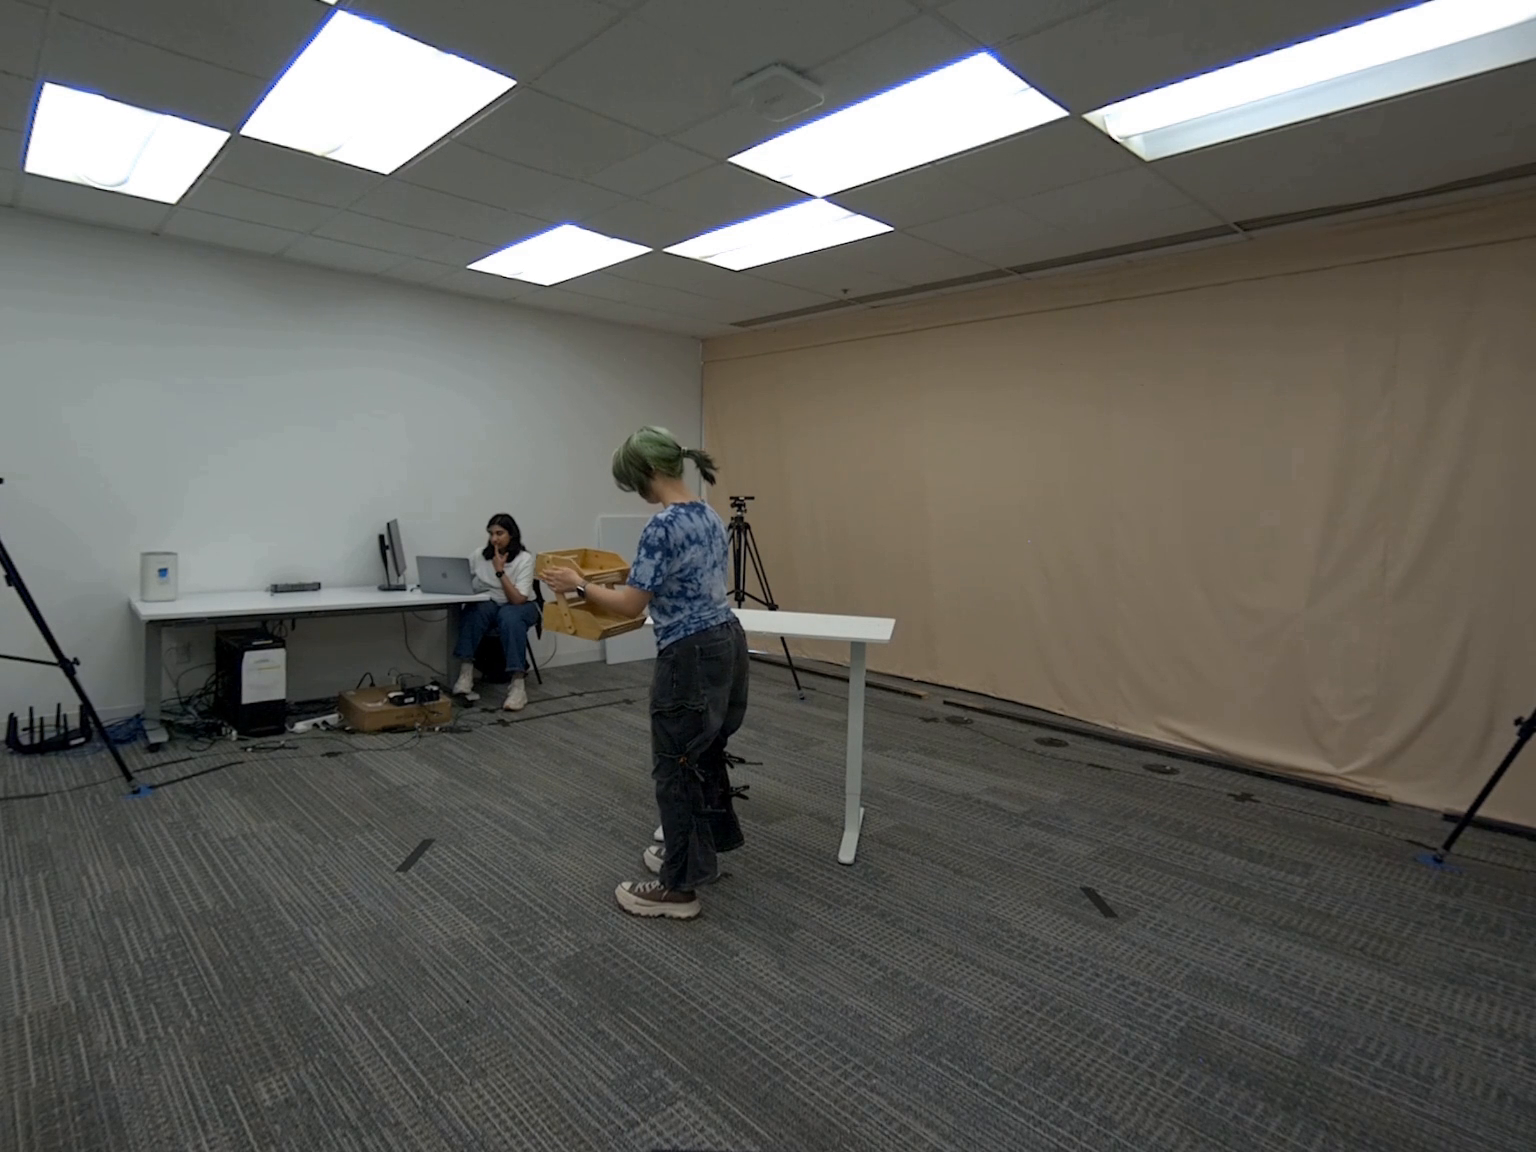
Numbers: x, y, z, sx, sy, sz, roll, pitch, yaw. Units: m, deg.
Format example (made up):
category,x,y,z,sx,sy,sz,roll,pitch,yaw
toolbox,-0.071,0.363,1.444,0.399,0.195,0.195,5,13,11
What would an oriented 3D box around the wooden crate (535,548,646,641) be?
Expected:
category,x,y,z,sx,sy,sz,roll,pitch,yaw
wooden crate,-0.626,0.062,3.009,0.308,0.272,0.320,10,8,22
